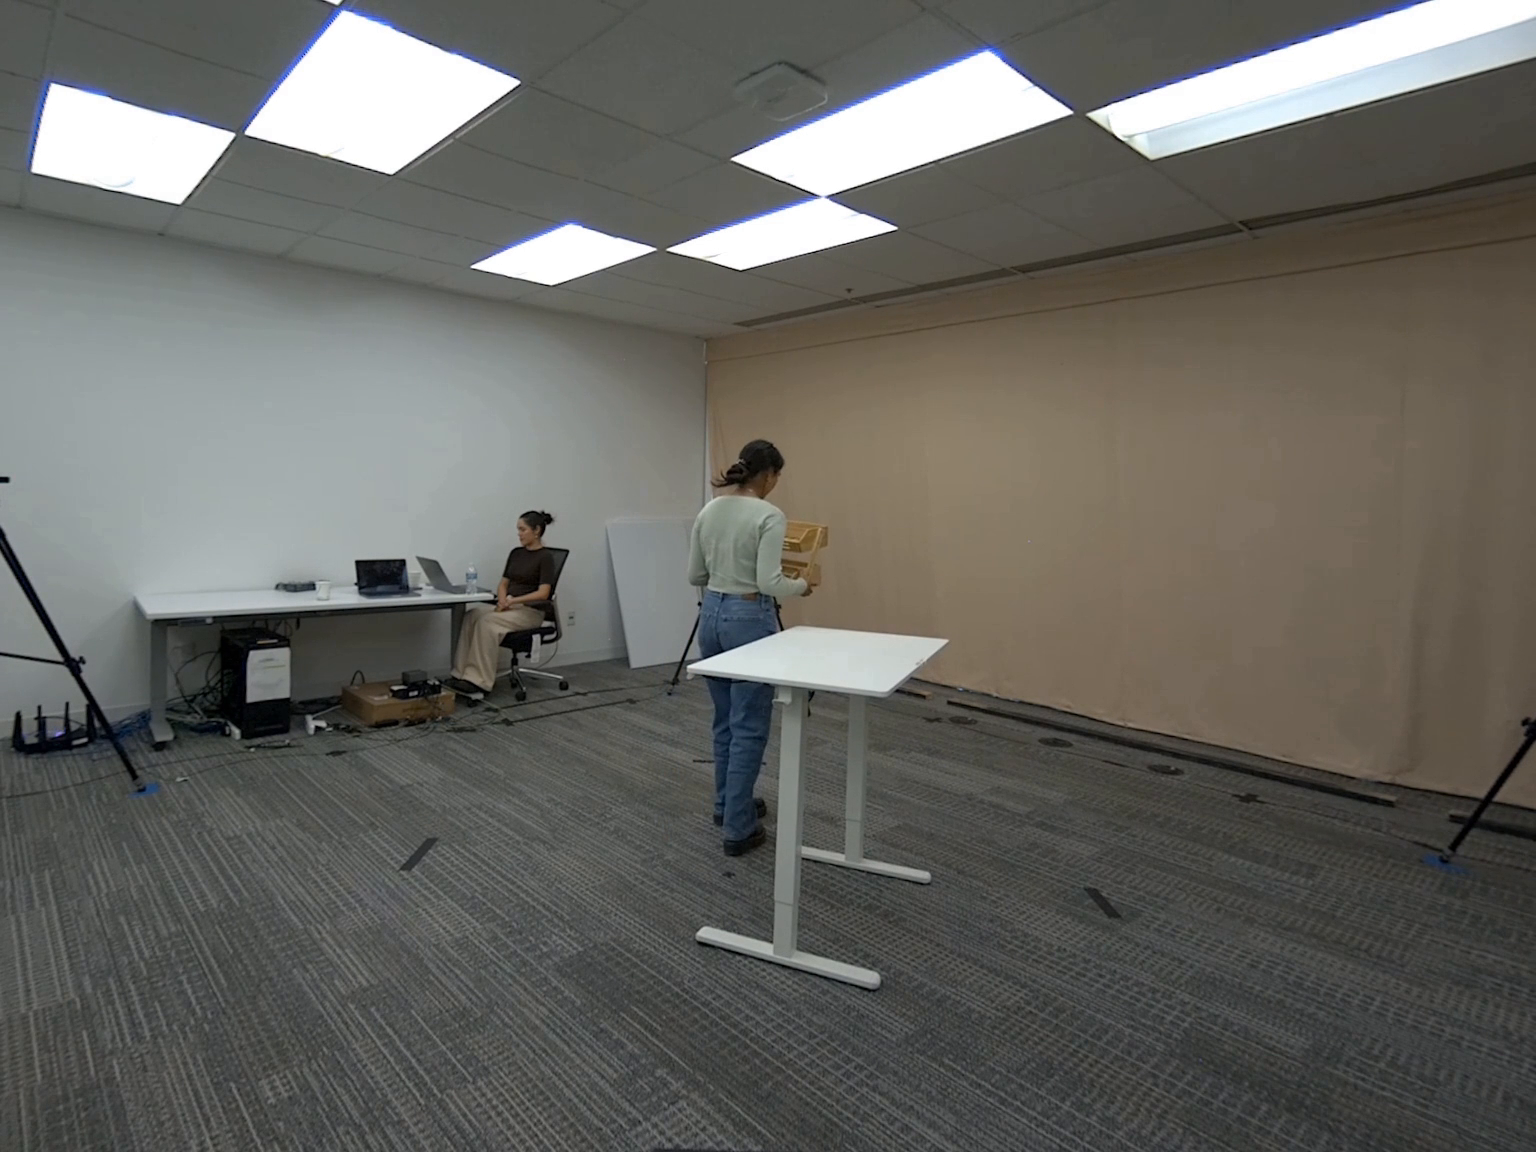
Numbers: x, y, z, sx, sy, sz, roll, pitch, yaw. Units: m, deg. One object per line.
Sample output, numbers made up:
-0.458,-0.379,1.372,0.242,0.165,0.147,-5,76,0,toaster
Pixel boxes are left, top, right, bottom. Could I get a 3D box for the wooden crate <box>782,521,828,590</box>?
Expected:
0.042,-0.093,3.684,0.333,0.271,0.296,9,16,39,wooden crate
